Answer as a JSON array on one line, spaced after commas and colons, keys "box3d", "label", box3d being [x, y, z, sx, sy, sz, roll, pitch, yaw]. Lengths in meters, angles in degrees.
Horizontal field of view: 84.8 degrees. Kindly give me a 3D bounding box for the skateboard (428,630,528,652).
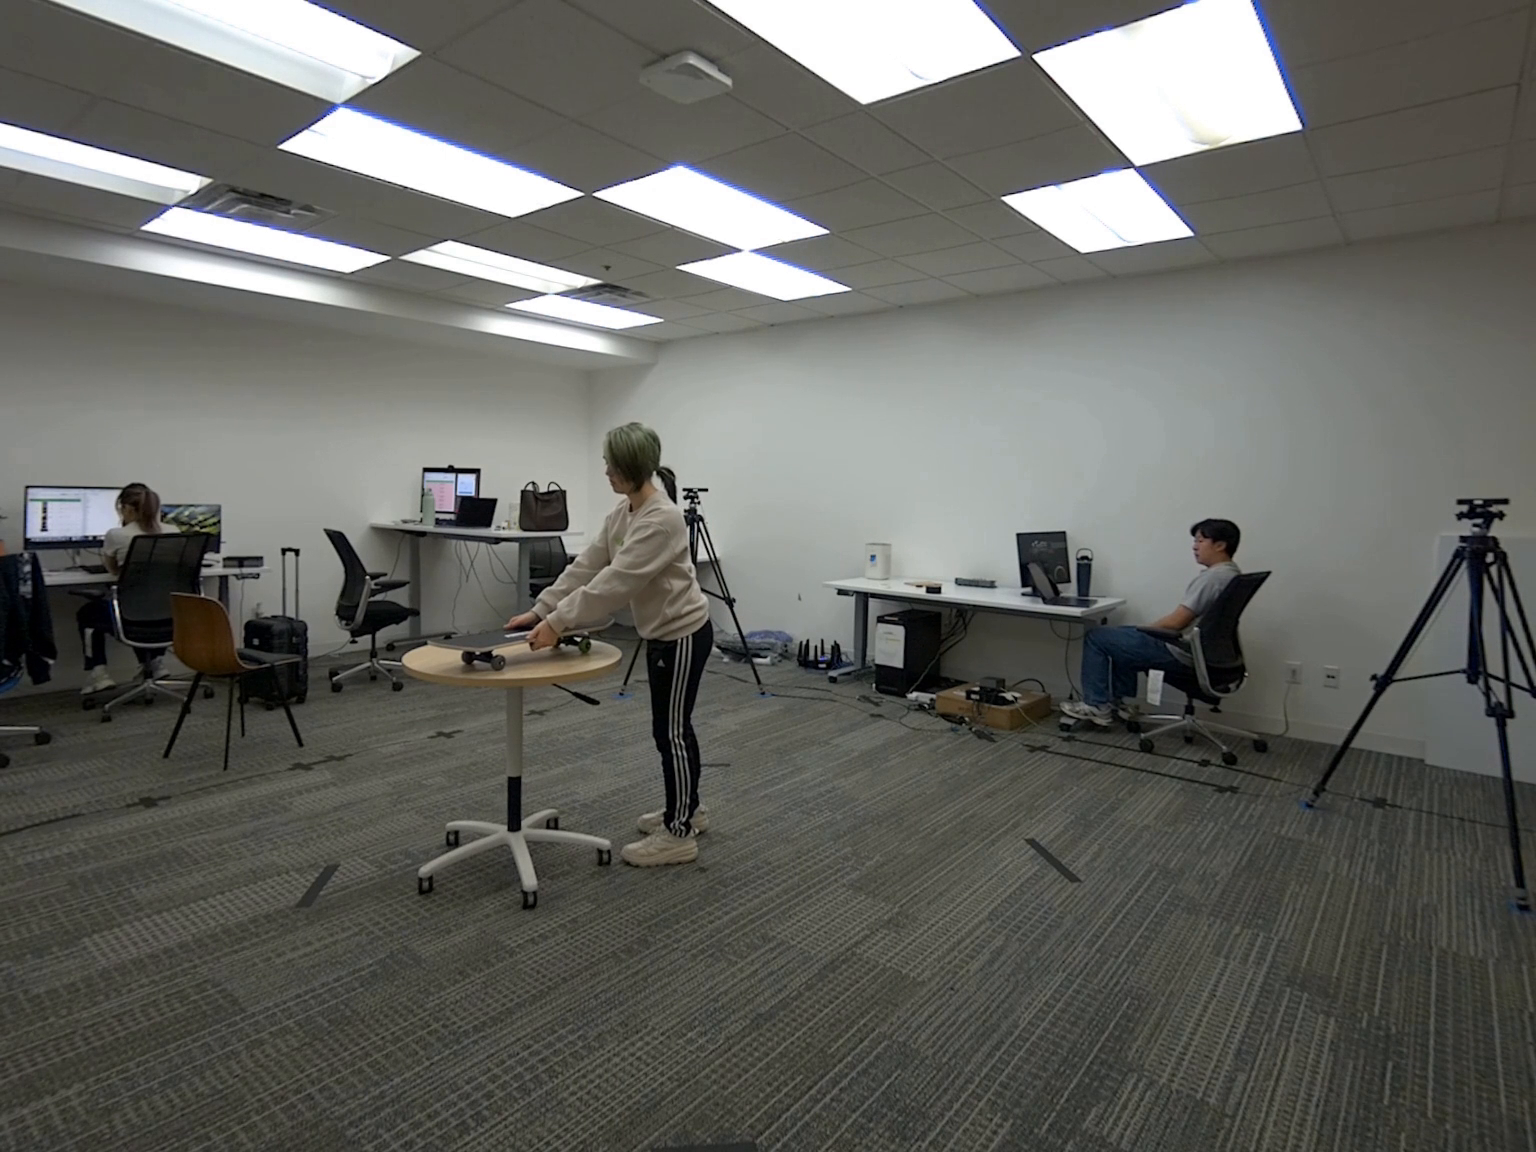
[{"box3d": [-0.851, 0.238, 3.004, 0.200, 0.110, 0.764, 8, 8, 33], "label": "skateboard"}]
